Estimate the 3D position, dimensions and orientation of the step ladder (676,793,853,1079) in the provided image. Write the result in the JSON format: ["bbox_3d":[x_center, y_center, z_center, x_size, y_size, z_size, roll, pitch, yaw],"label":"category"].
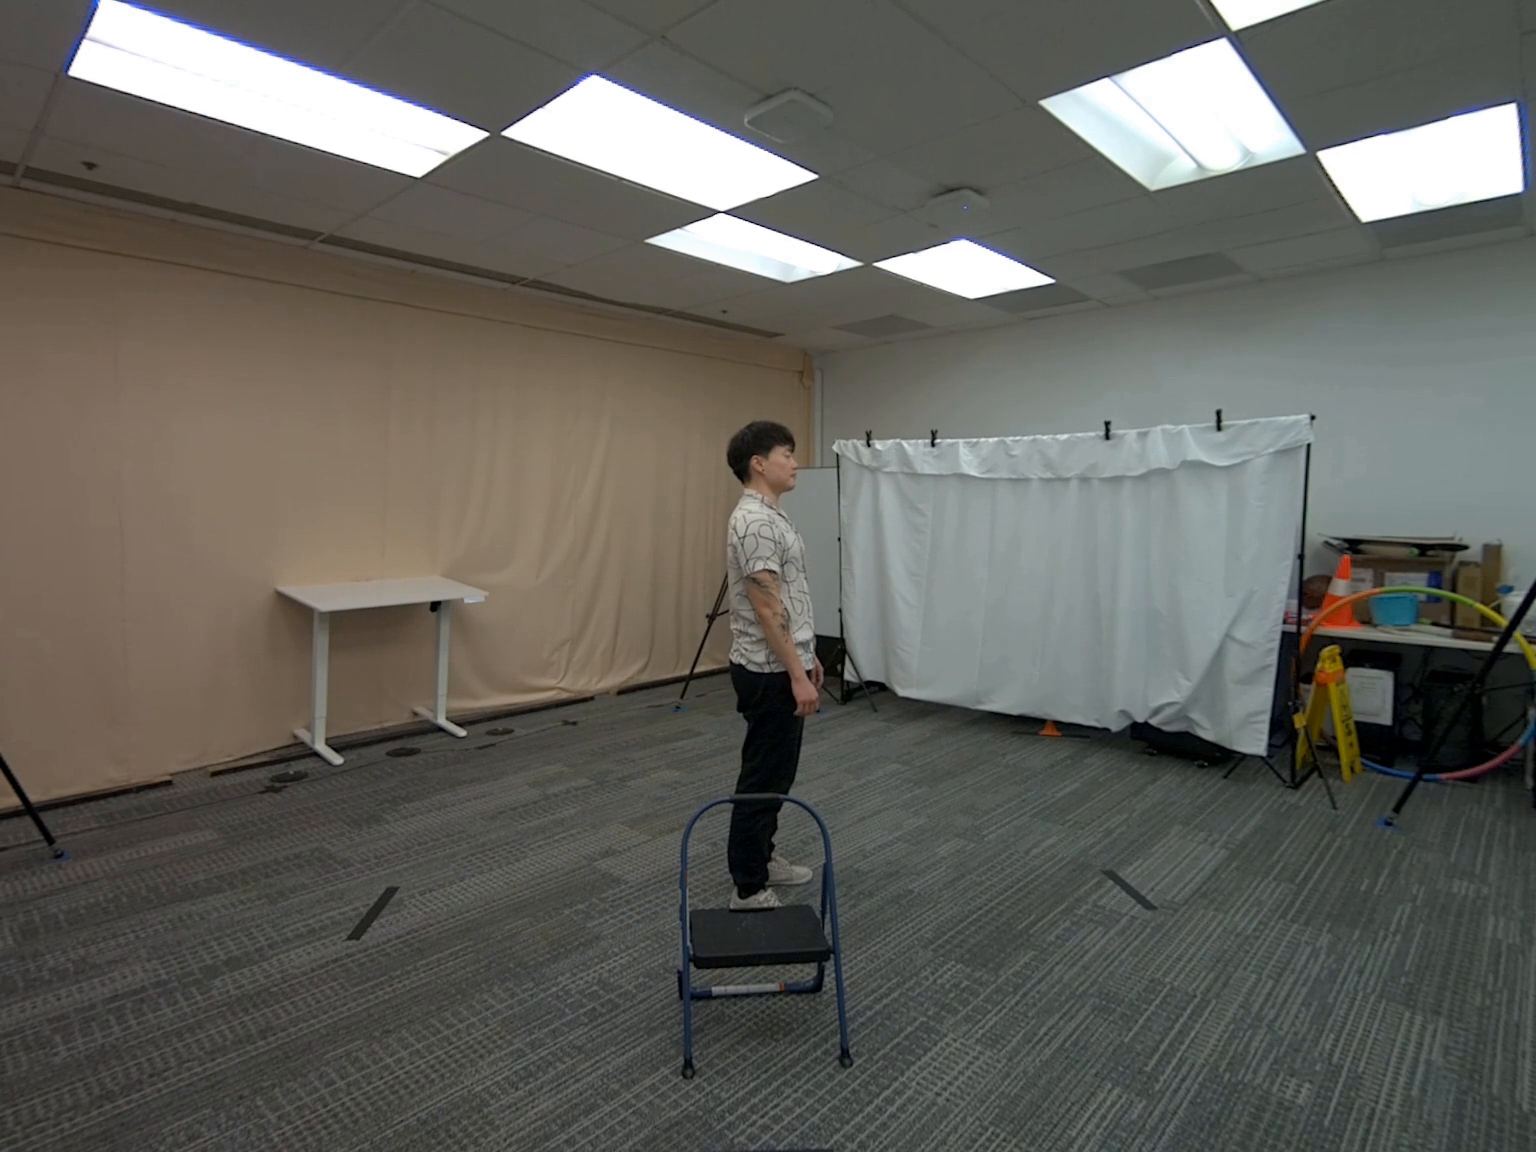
[{"bbox_3d":[-0.022,0.907,2.226,0.428,0.605,0.352,0,3,-7],"label":"step ladder"}]
